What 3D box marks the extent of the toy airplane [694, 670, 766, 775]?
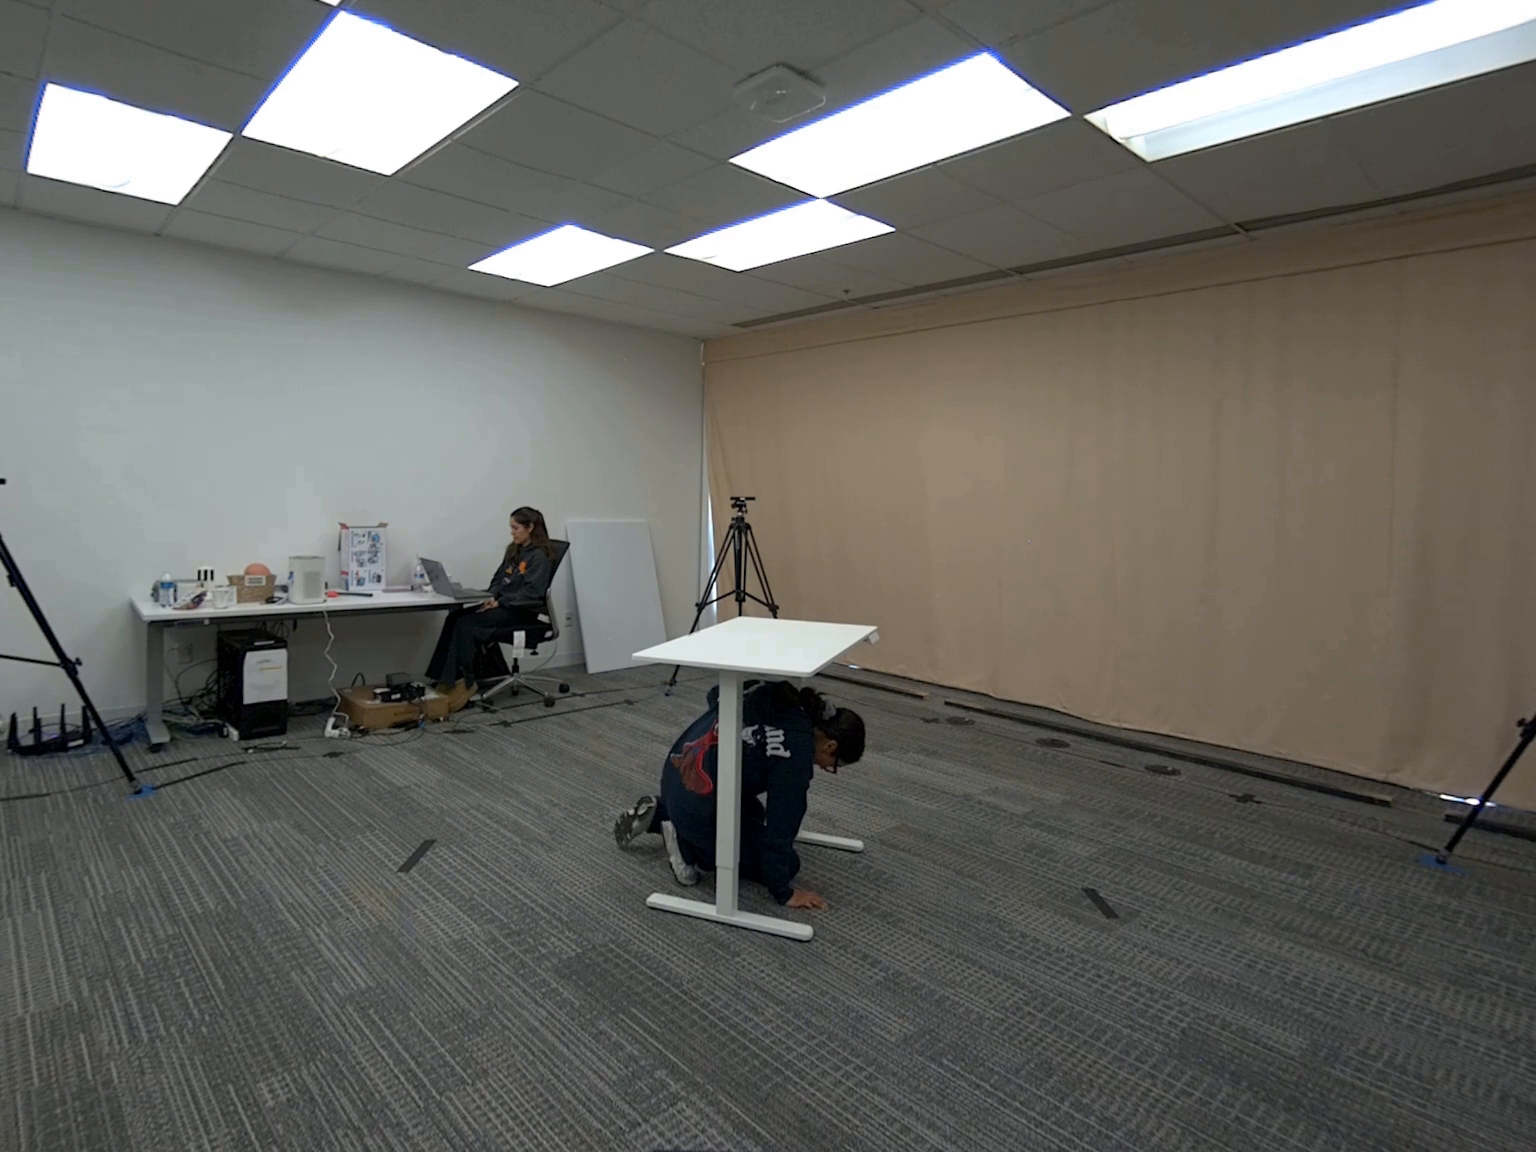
[{"bbox_3d":[-0.085,0.546,3.190,0.248,0.262,0.156,-29,-12,-40],"label":"toy airplane"}]
